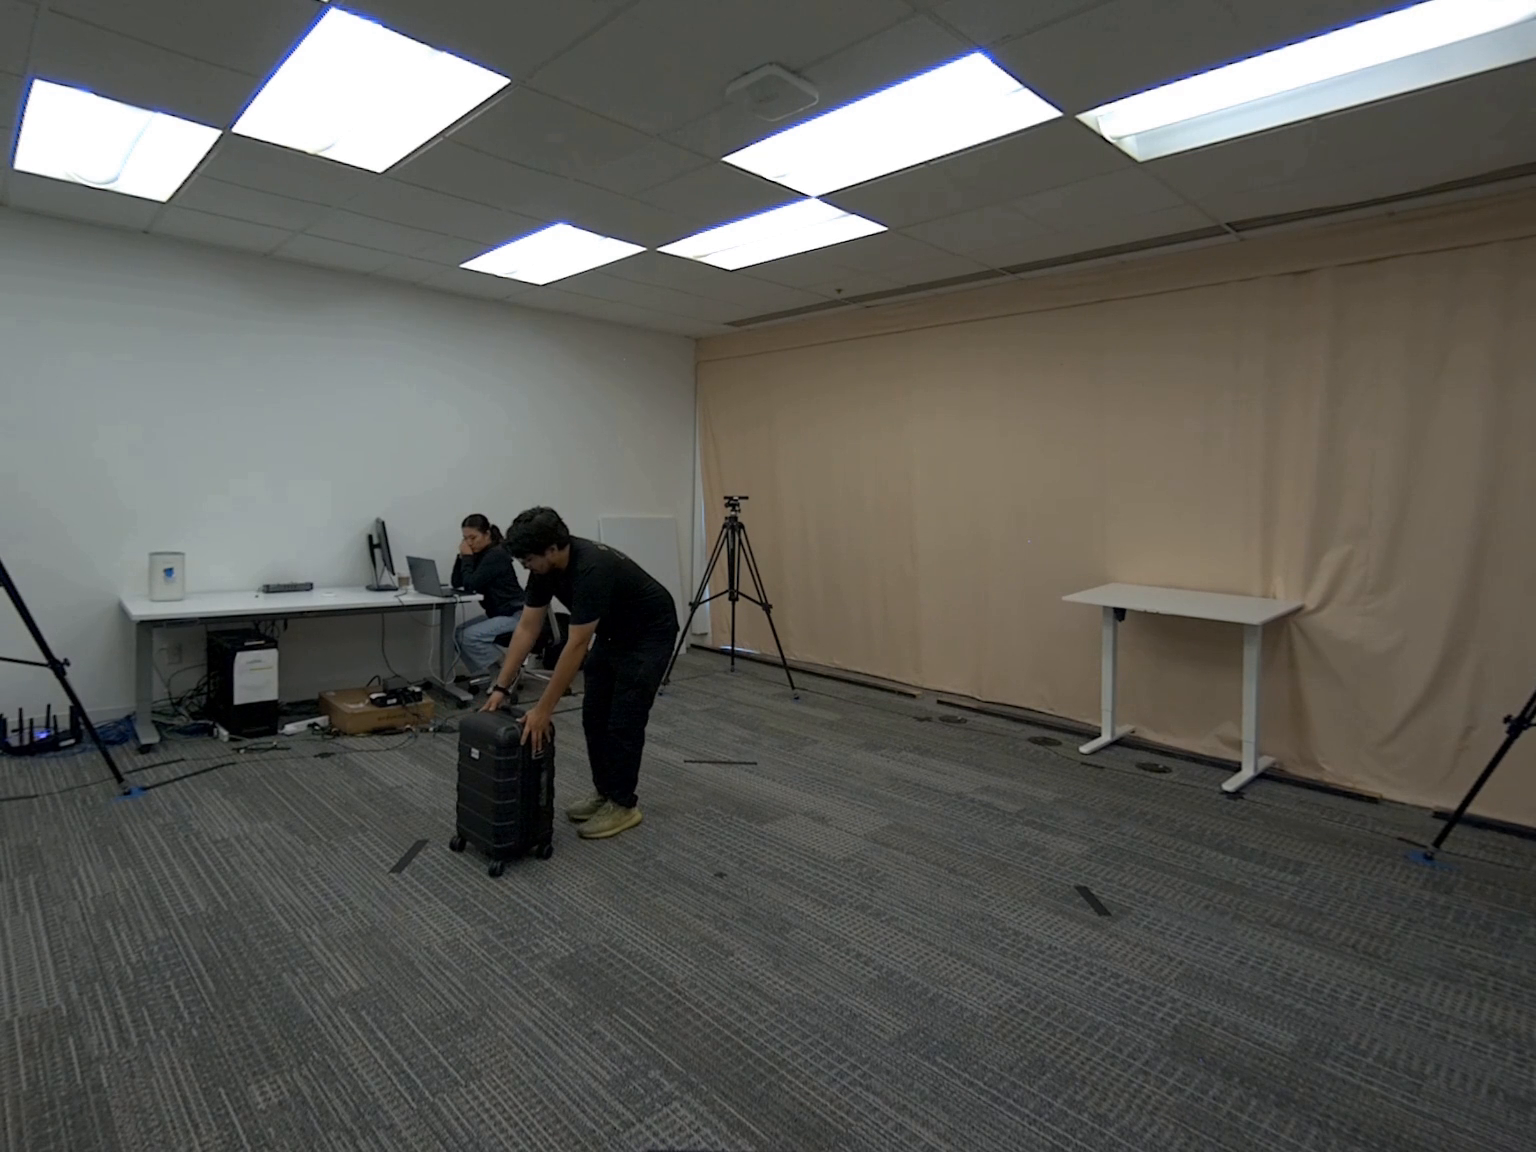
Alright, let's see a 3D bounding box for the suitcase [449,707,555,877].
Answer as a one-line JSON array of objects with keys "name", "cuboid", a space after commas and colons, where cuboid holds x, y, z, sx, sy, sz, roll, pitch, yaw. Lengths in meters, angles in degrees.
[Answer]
[{"name": "suitcase", "cuboid": [-1.025, 0.797, 3.240, 0.385, 0.549, 0.242, 4, 2, 44]}]
